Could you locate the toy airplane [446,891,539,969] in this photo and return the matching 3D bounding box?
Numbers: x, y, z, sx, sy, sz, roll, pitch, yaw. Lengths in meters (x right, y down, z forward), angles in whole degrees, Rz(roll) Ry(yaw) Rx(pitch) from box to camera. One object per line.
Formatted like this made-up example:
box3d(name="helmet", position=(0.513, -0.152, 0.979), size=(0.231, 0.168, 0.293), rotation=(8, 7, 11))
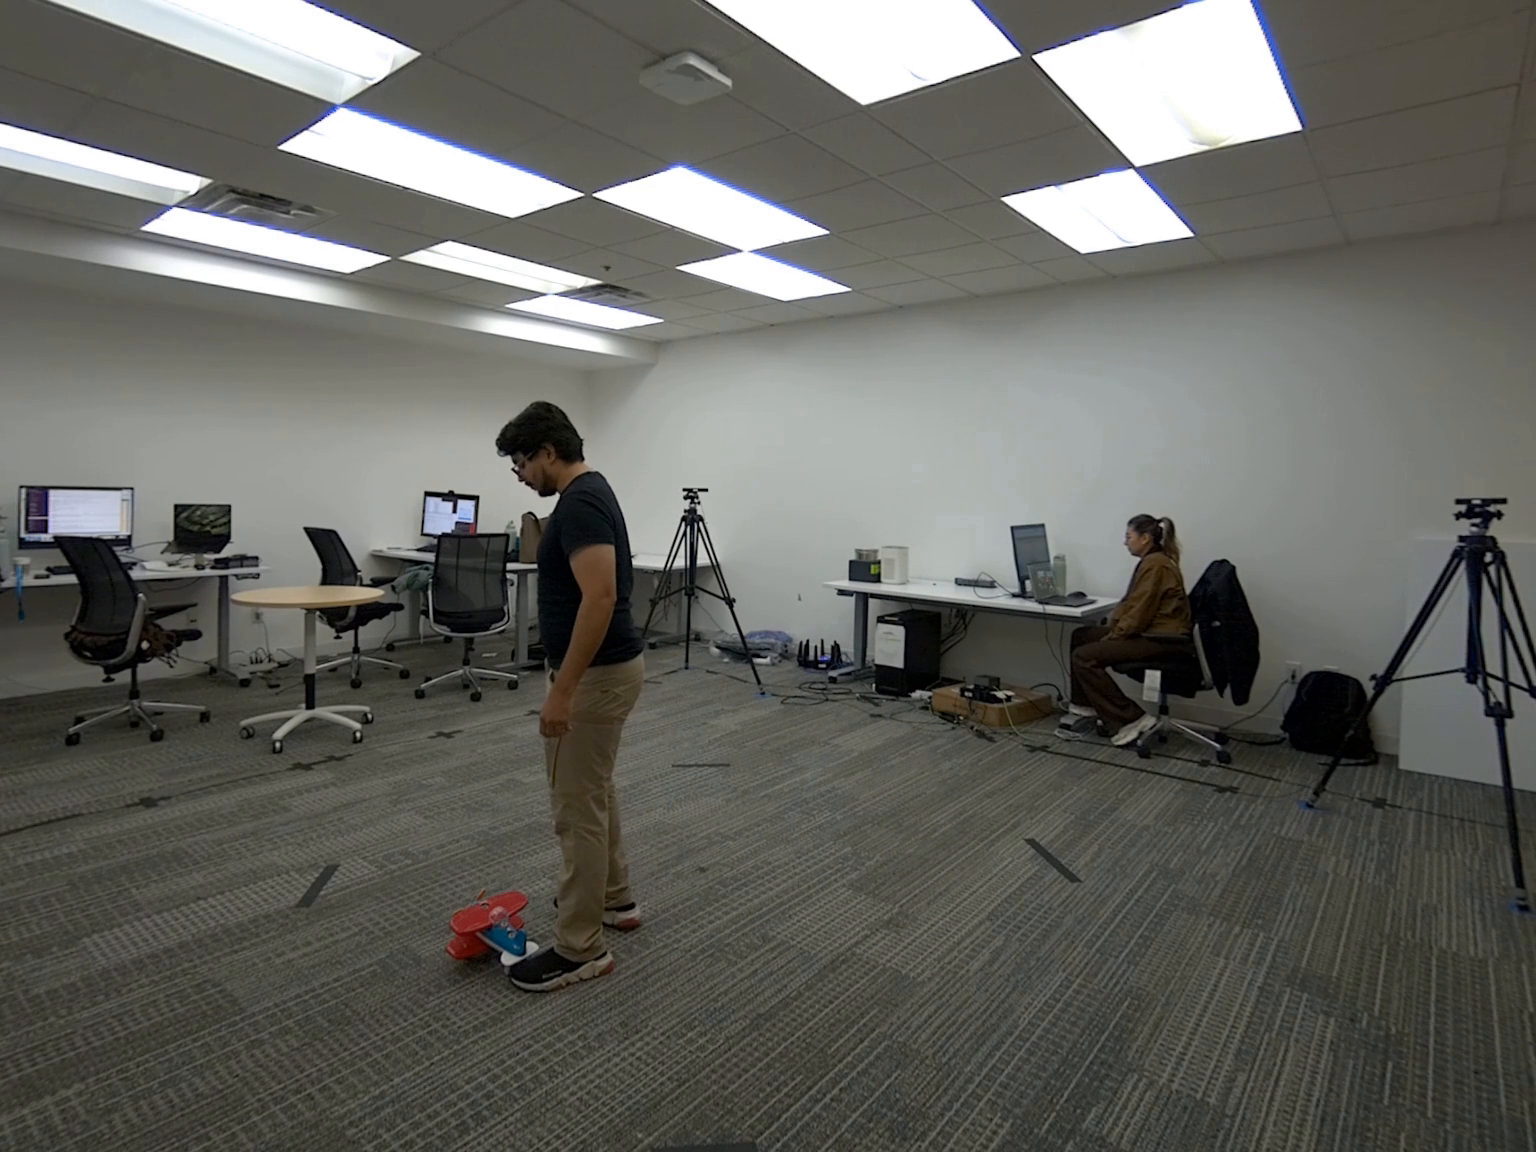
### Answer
box3d(name="toy airplane", position=(-0.794, 1.045, 2.505), size=(0.261, 0.156, 0.250), rotation=(0, 6, 6))
